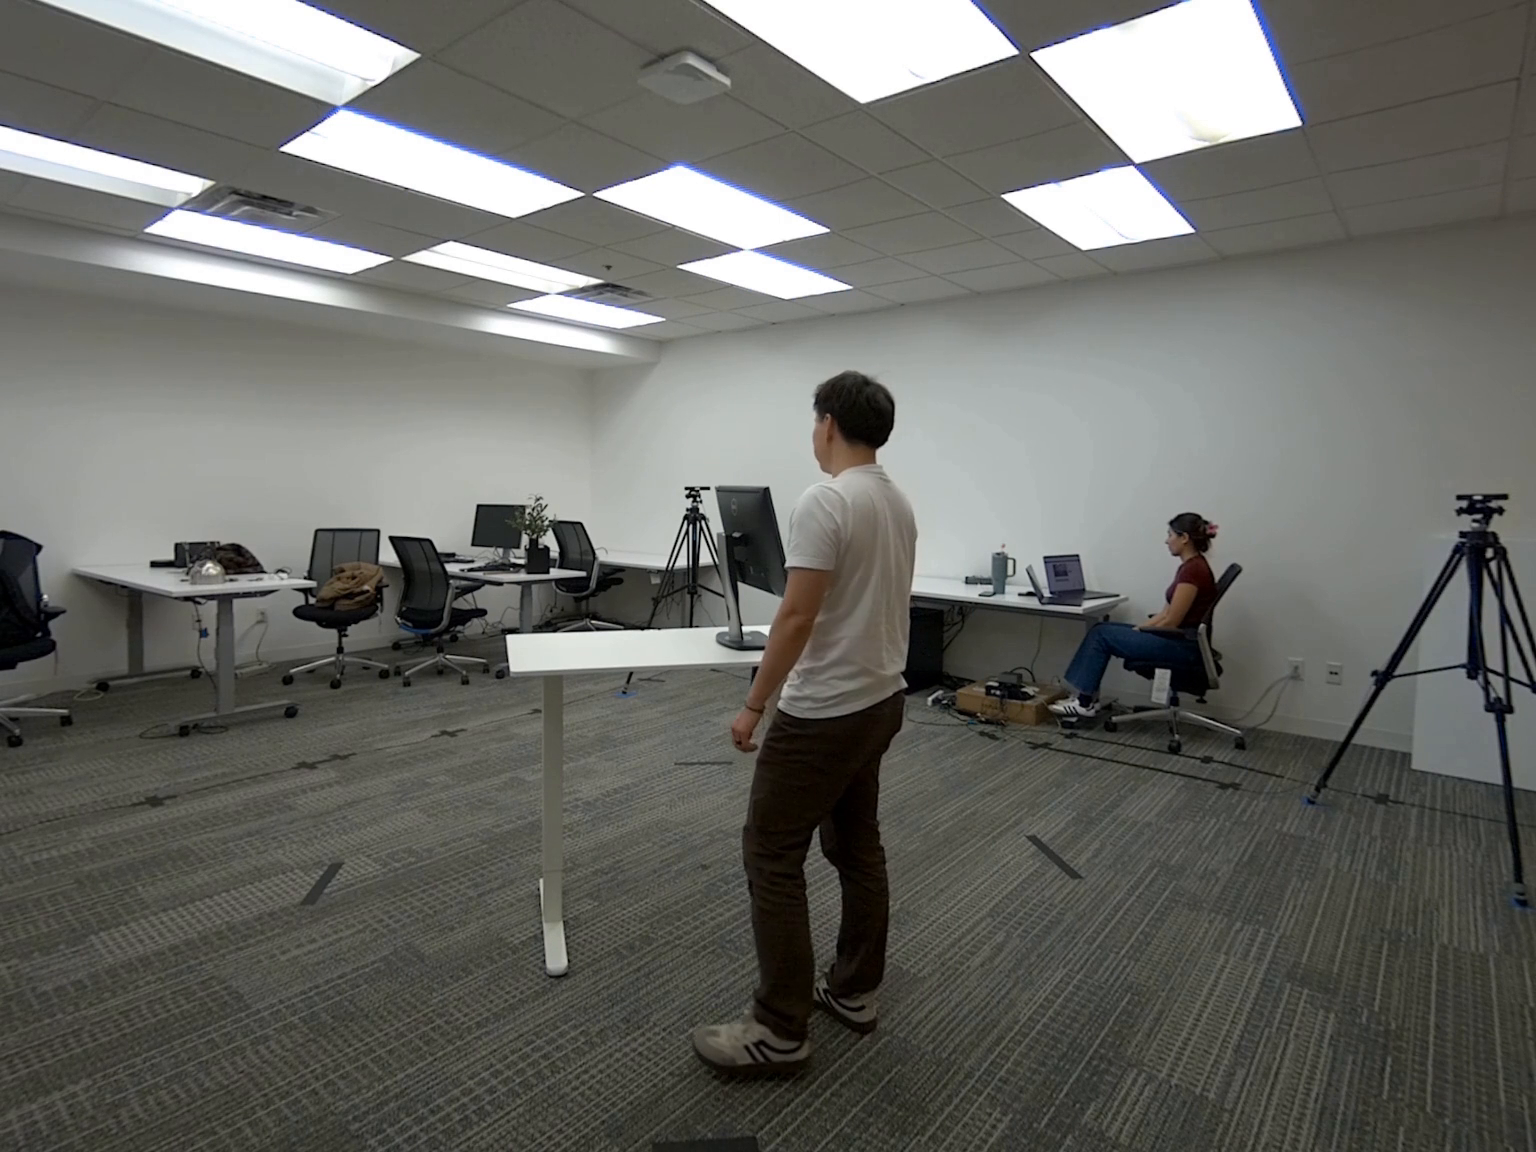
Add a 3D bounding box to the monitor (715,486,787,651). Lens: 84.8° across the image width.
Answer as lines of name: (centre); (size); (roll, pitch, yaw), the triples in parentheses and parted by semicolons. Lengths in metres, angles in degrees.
monitor: (-0.094, -0.036, 2.776); (0.183, 0.520, 0.552); (-2, 6, -21)
